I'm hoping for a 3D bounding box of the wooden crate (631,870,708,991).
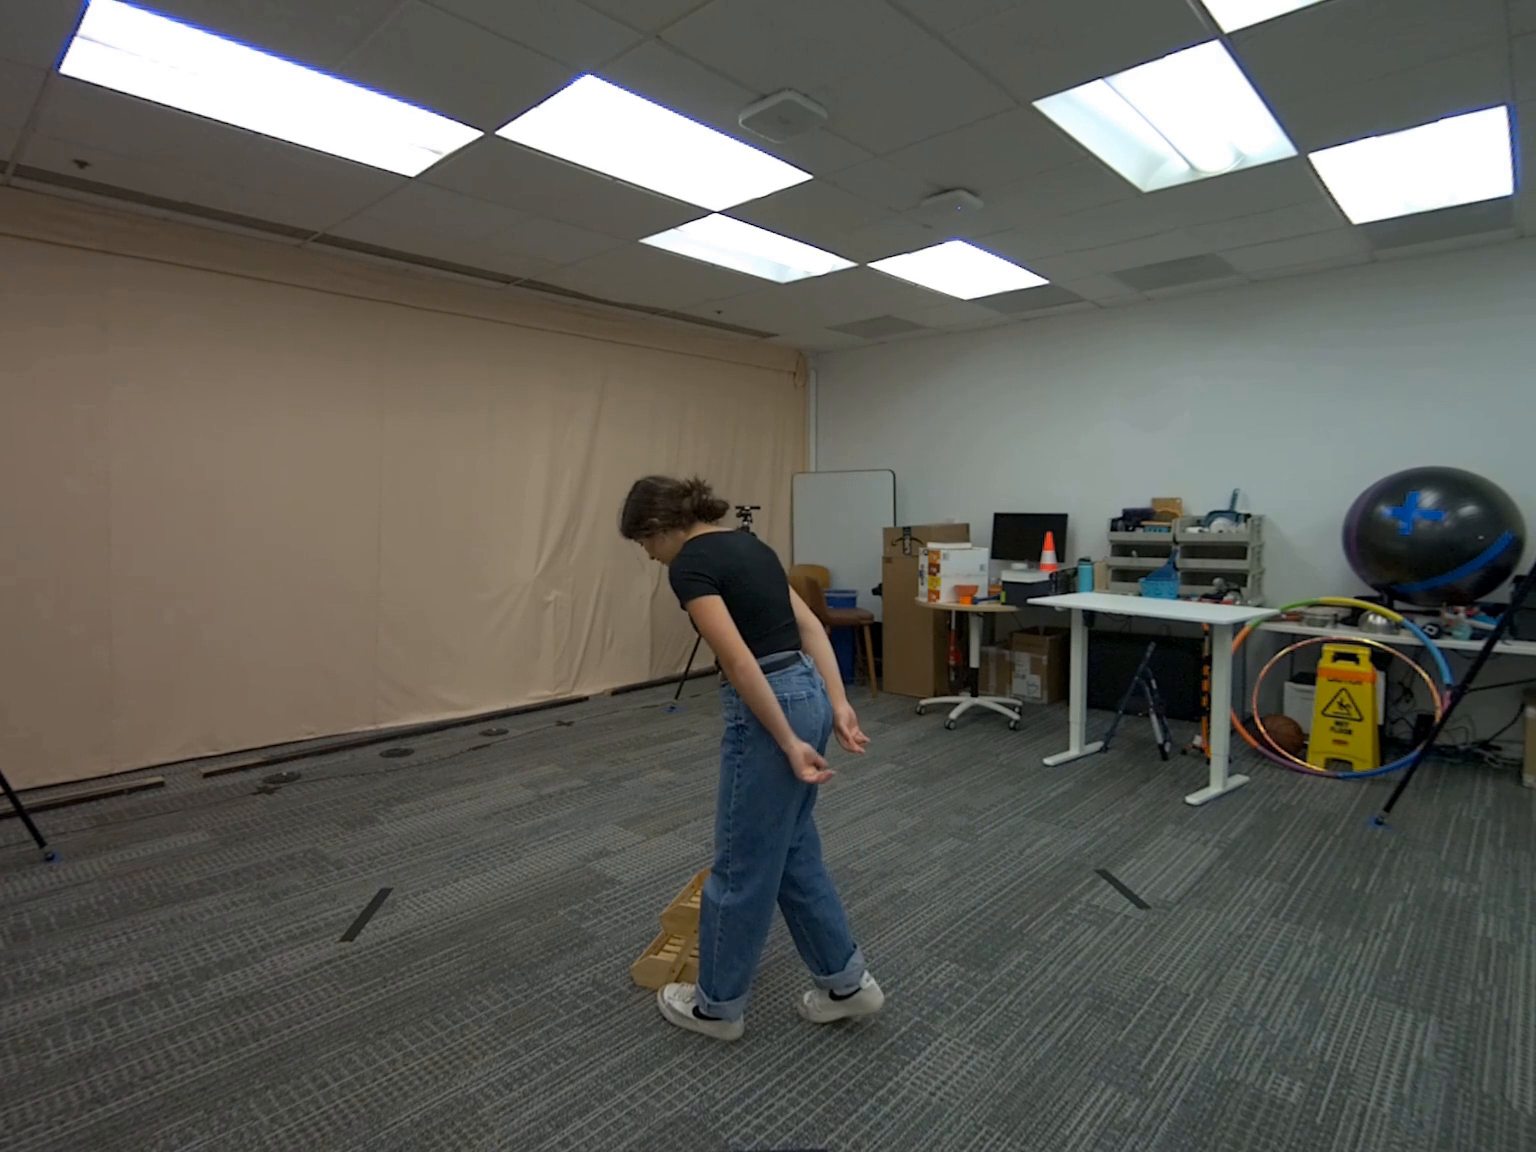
[{"bbox_3d":[-0.217,1.050,2.534,0.308,0.272,0.319,2,5,19],"label":"wooden crate"}]
